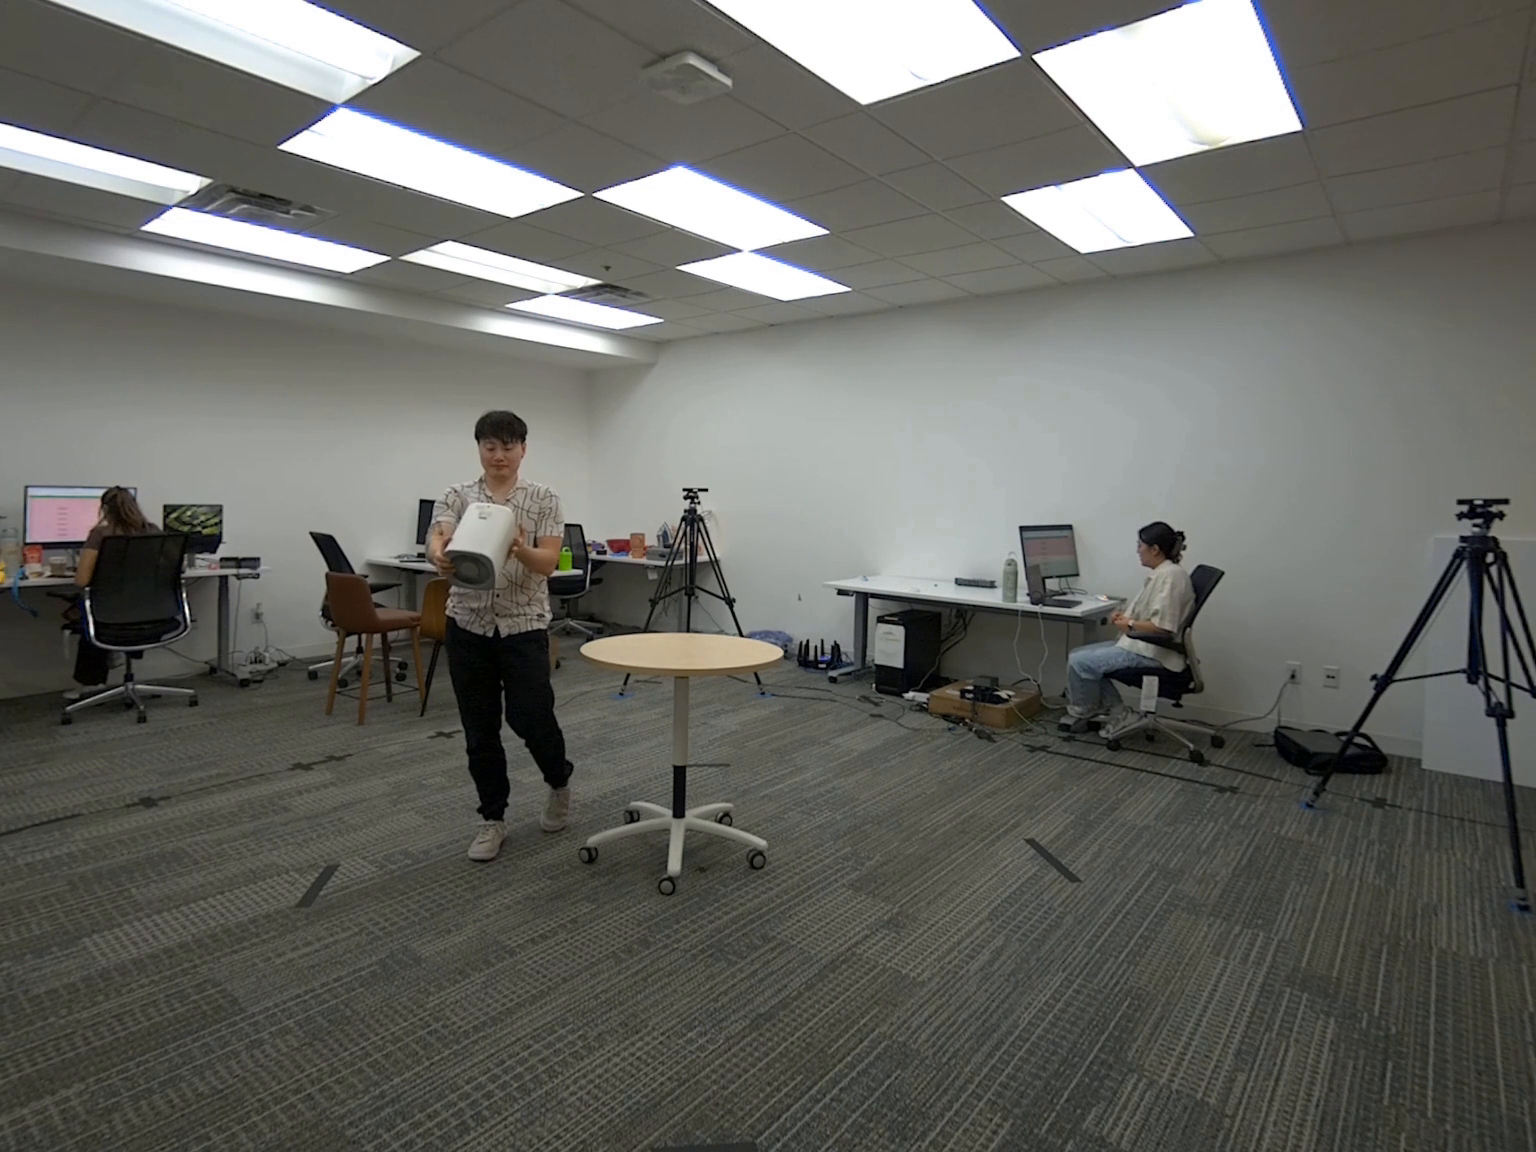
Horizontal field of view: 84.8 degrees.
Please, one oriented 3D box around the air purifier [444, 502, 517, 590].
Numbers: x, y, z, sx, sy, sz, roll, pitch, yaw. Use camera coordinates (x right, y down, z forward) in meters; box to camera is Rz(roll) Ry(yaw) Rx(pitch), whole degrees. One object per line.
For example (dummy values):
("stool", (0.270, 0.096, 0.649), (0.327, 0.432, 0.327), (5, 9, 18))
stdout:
("air purifier", (-0.974, -0.114, 2.853), (0.171, 0.168, 0.272), (8, 42, -3))
